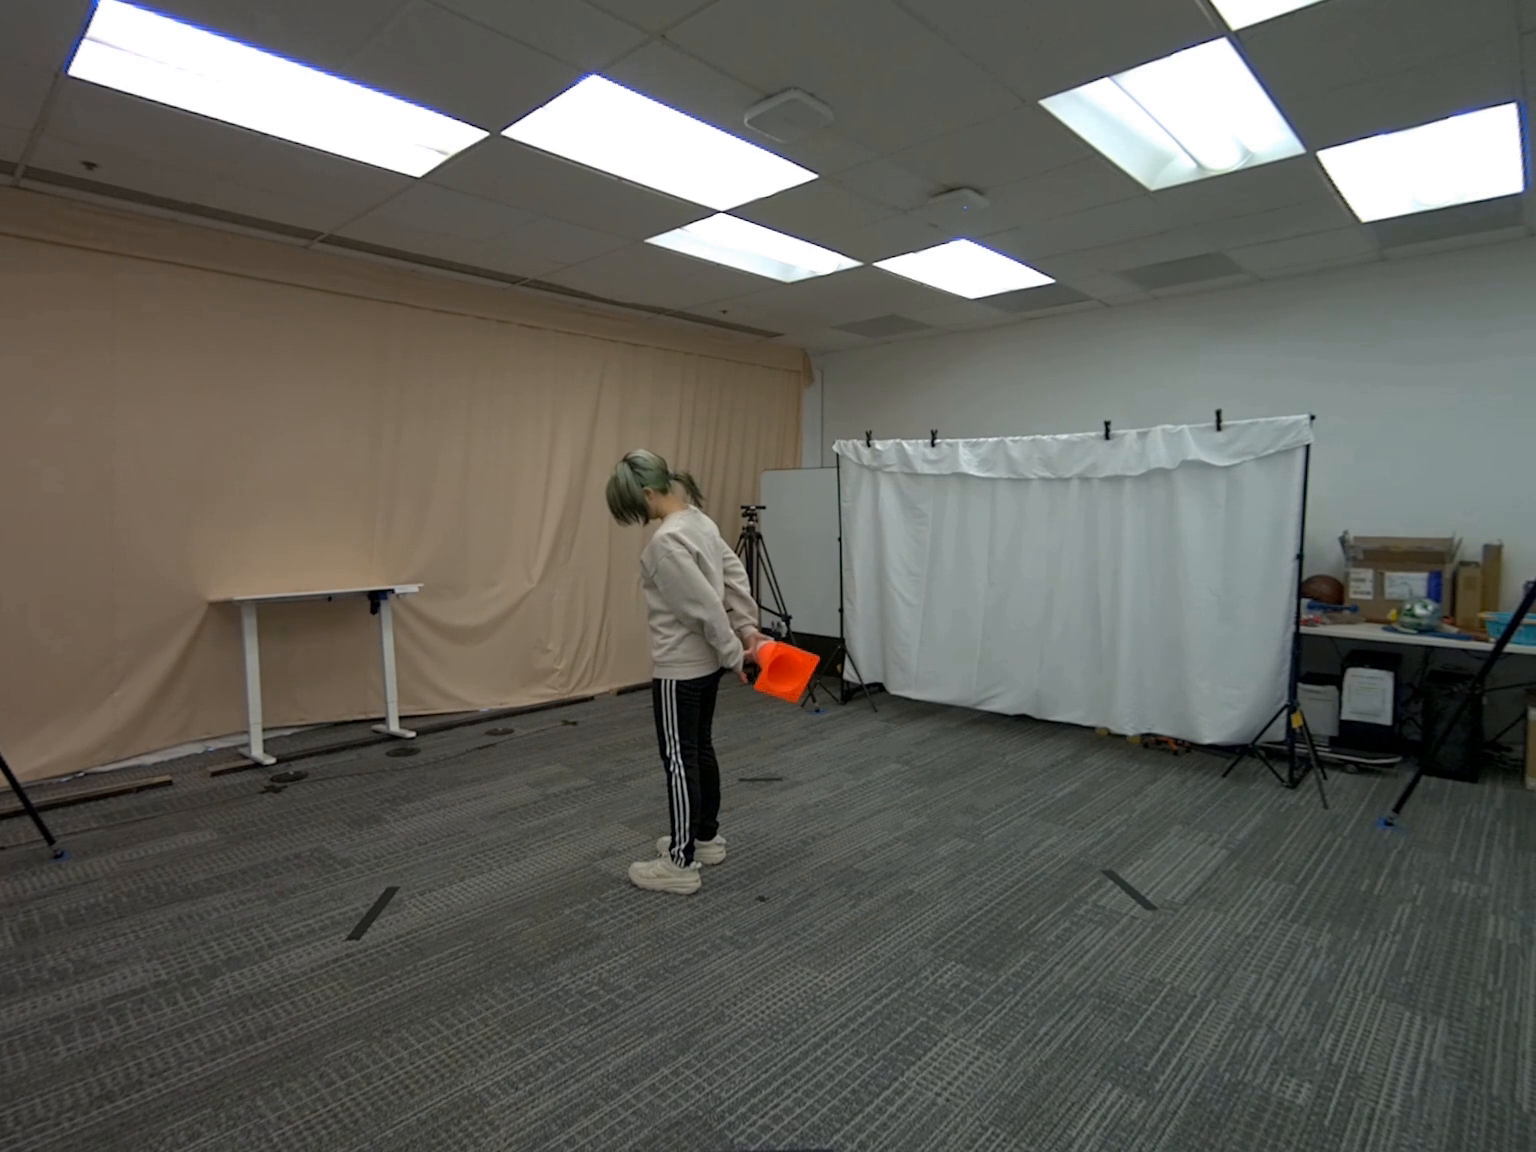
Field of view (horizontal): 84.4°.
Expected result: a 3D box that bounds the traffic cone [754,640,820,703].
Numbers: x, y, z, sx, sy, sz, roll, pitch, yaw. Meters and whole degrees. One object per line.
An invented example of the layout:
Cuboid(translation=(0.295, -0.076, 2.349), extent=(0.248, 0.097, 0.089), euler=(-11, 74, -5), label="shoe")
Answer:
Cuboid(translation=(0.003, 0.305, 3.271), extent=(0.199, 0.203, 0.394), euler=(19, 9, -25), label="traffic cone")
